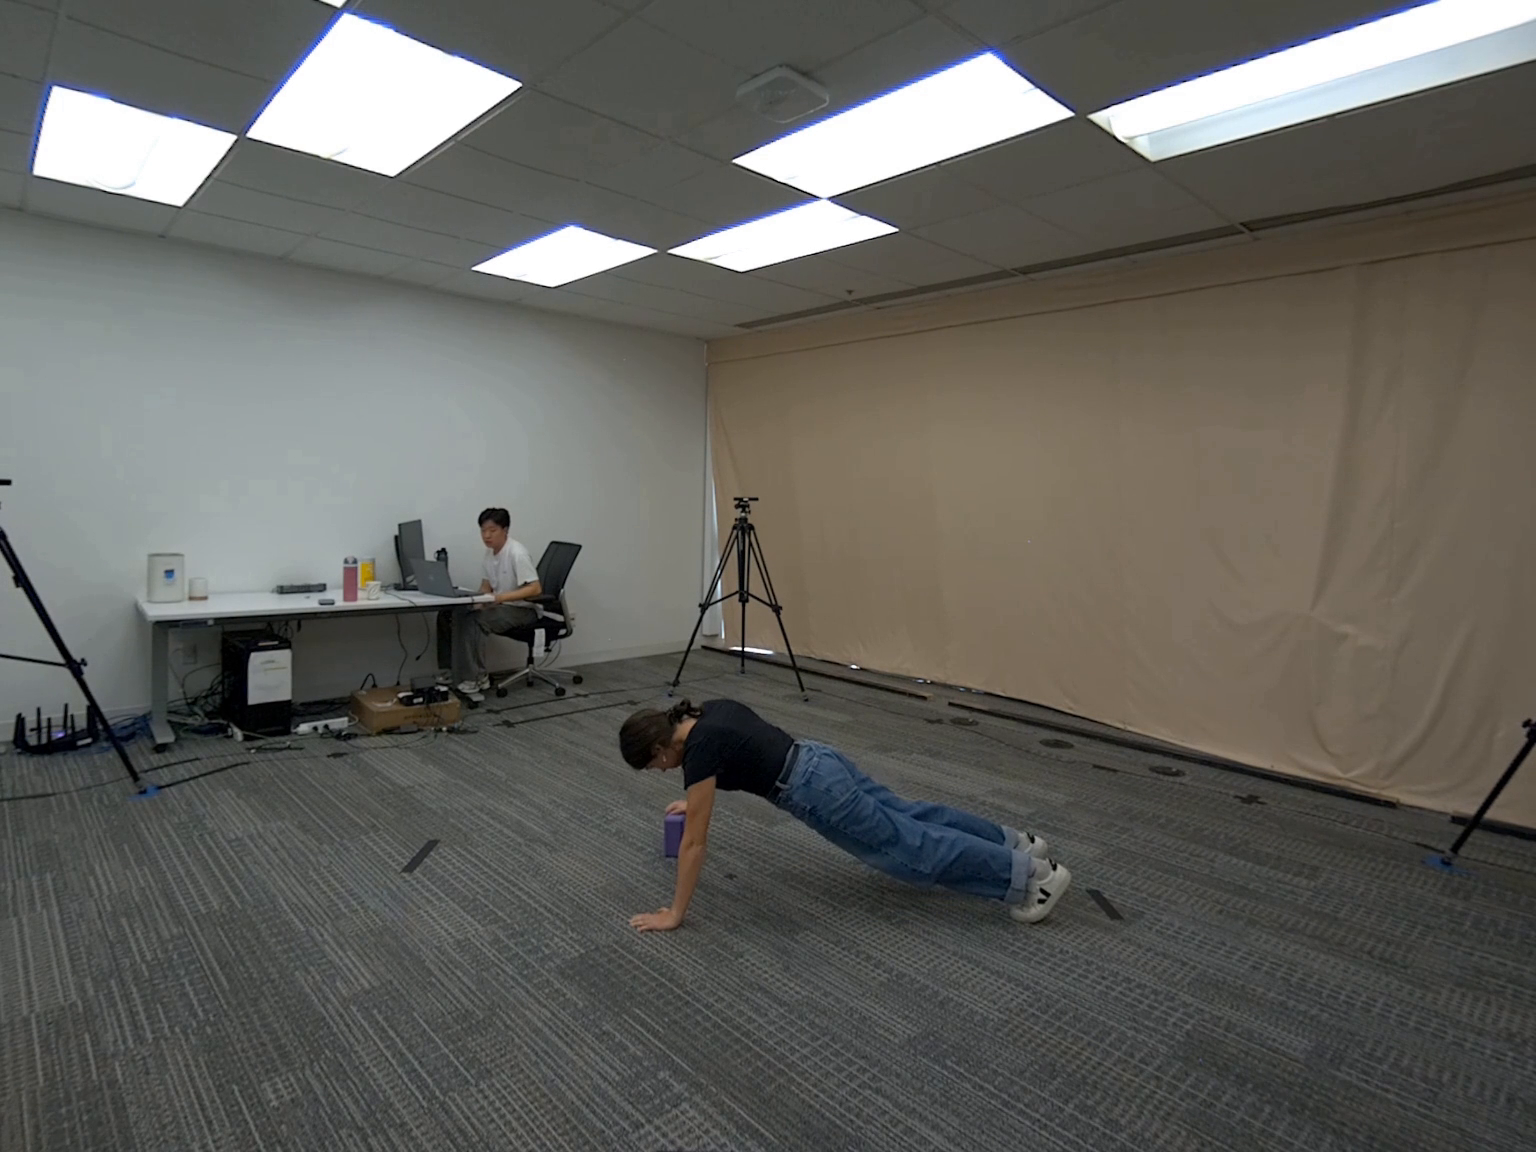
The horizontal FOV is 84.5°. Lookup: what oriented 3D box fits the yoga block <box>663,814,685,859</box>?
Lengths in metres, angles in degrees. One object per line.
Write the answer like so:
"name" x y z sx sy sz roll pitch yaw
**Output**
"yoga block" -0.355 1.007 3.354 0.077 0.148 0.229 3 7 6
